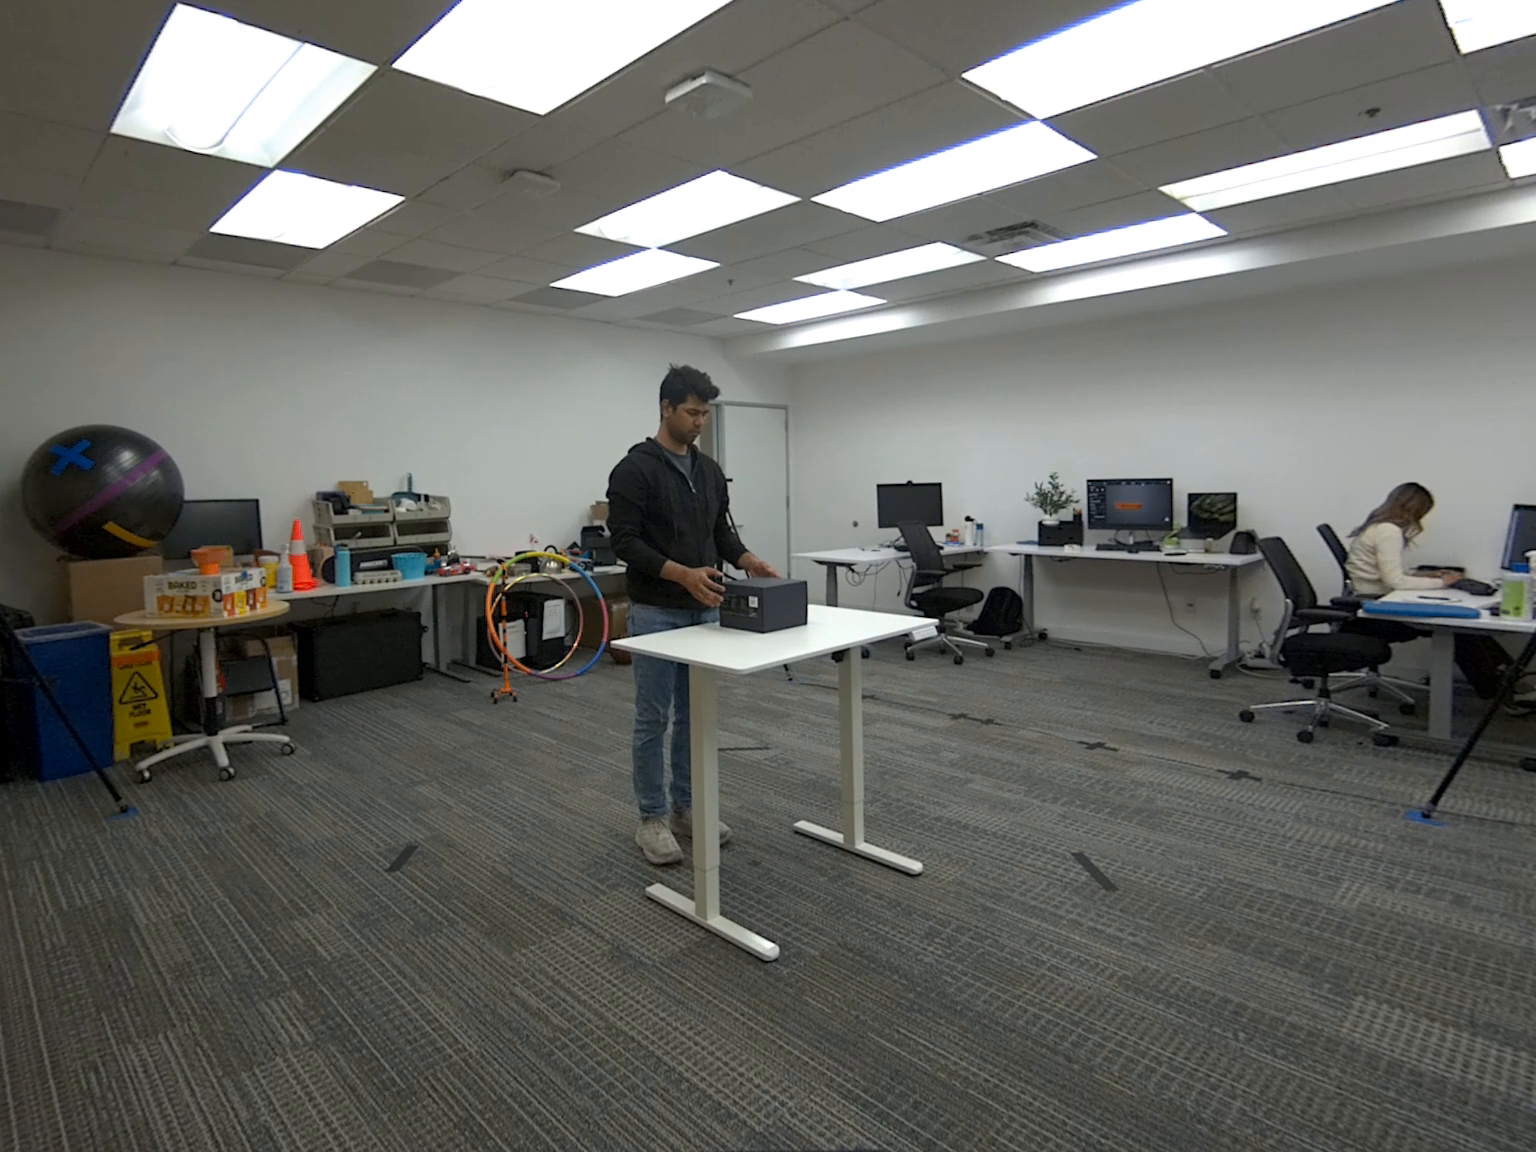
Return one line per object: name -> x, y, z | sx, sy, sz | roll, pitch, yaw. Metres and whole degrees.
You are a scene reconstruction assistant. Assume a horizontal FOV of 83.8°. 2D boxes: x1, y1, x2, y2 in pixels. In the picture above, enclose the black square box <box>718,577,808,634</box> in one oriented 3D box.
black square box -> -0.010, 0.095, 2.980 | 0.223, 0.155, 0.222 | 4, 7, 44
